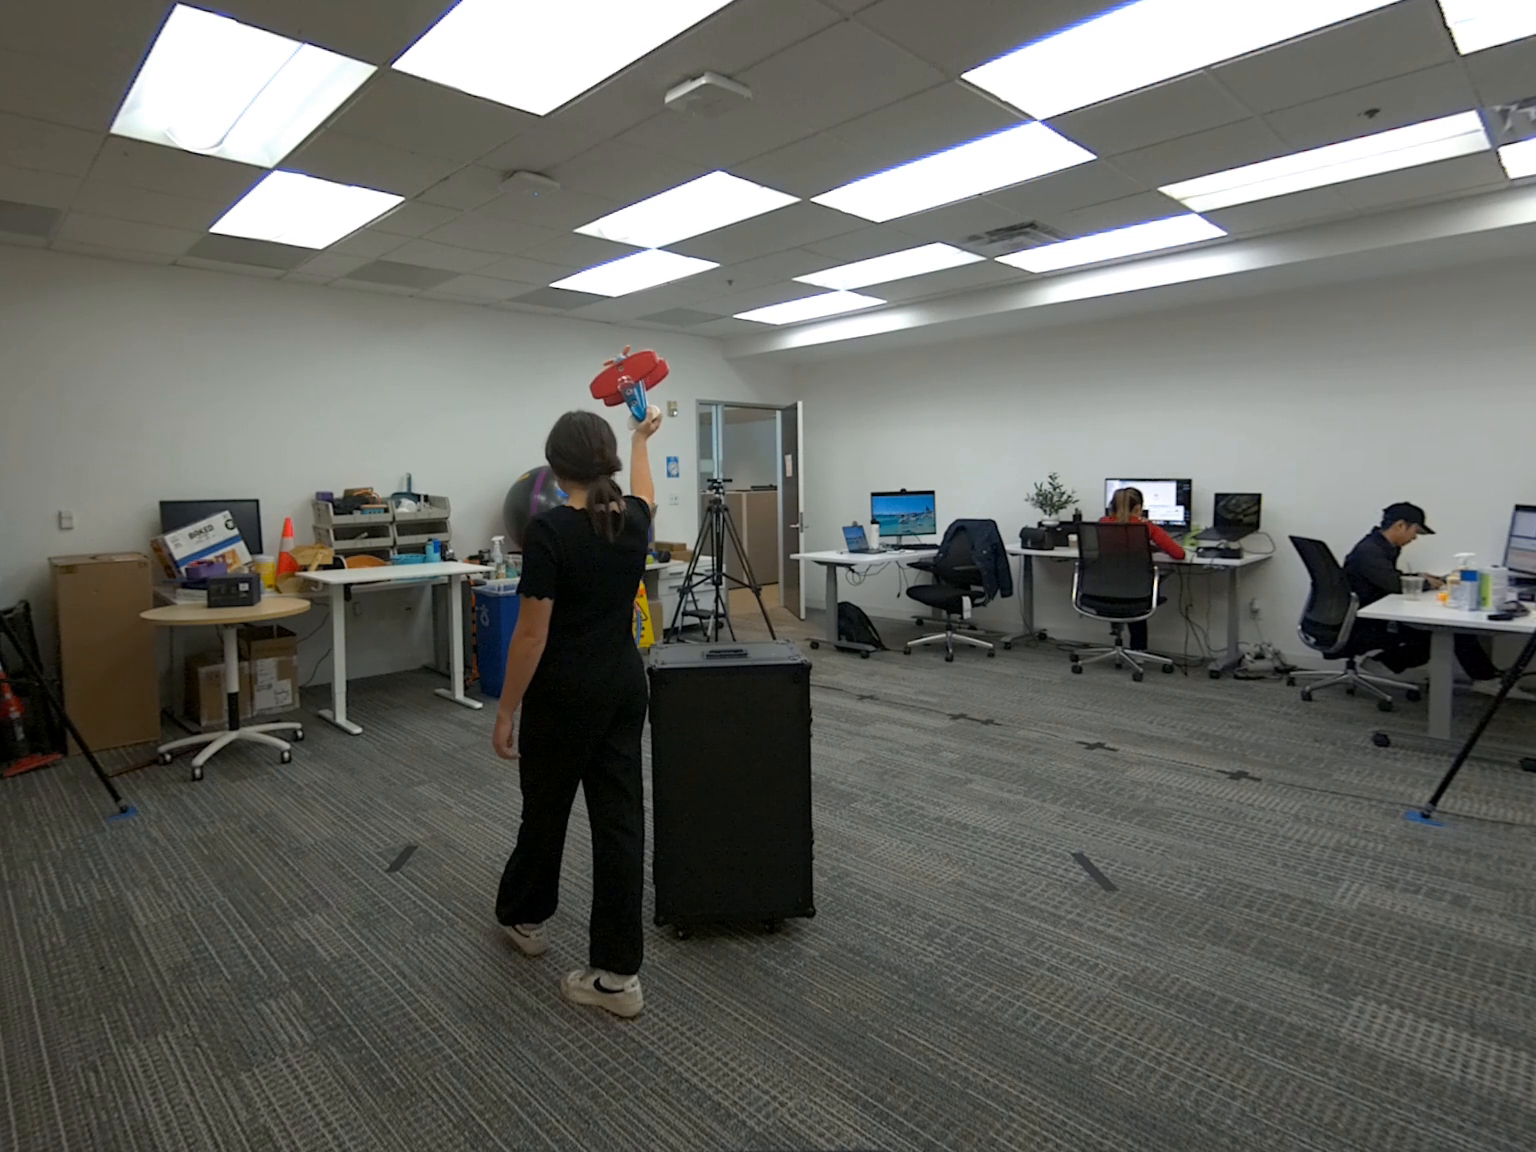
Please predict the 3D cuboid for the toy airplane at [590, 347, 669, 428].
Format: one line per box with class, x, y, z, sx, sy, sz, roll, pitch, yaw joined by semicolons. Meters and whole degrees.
toy airplane;-0.426;-0.620;2.802;0.269;0.251;0.150;42;2;35
